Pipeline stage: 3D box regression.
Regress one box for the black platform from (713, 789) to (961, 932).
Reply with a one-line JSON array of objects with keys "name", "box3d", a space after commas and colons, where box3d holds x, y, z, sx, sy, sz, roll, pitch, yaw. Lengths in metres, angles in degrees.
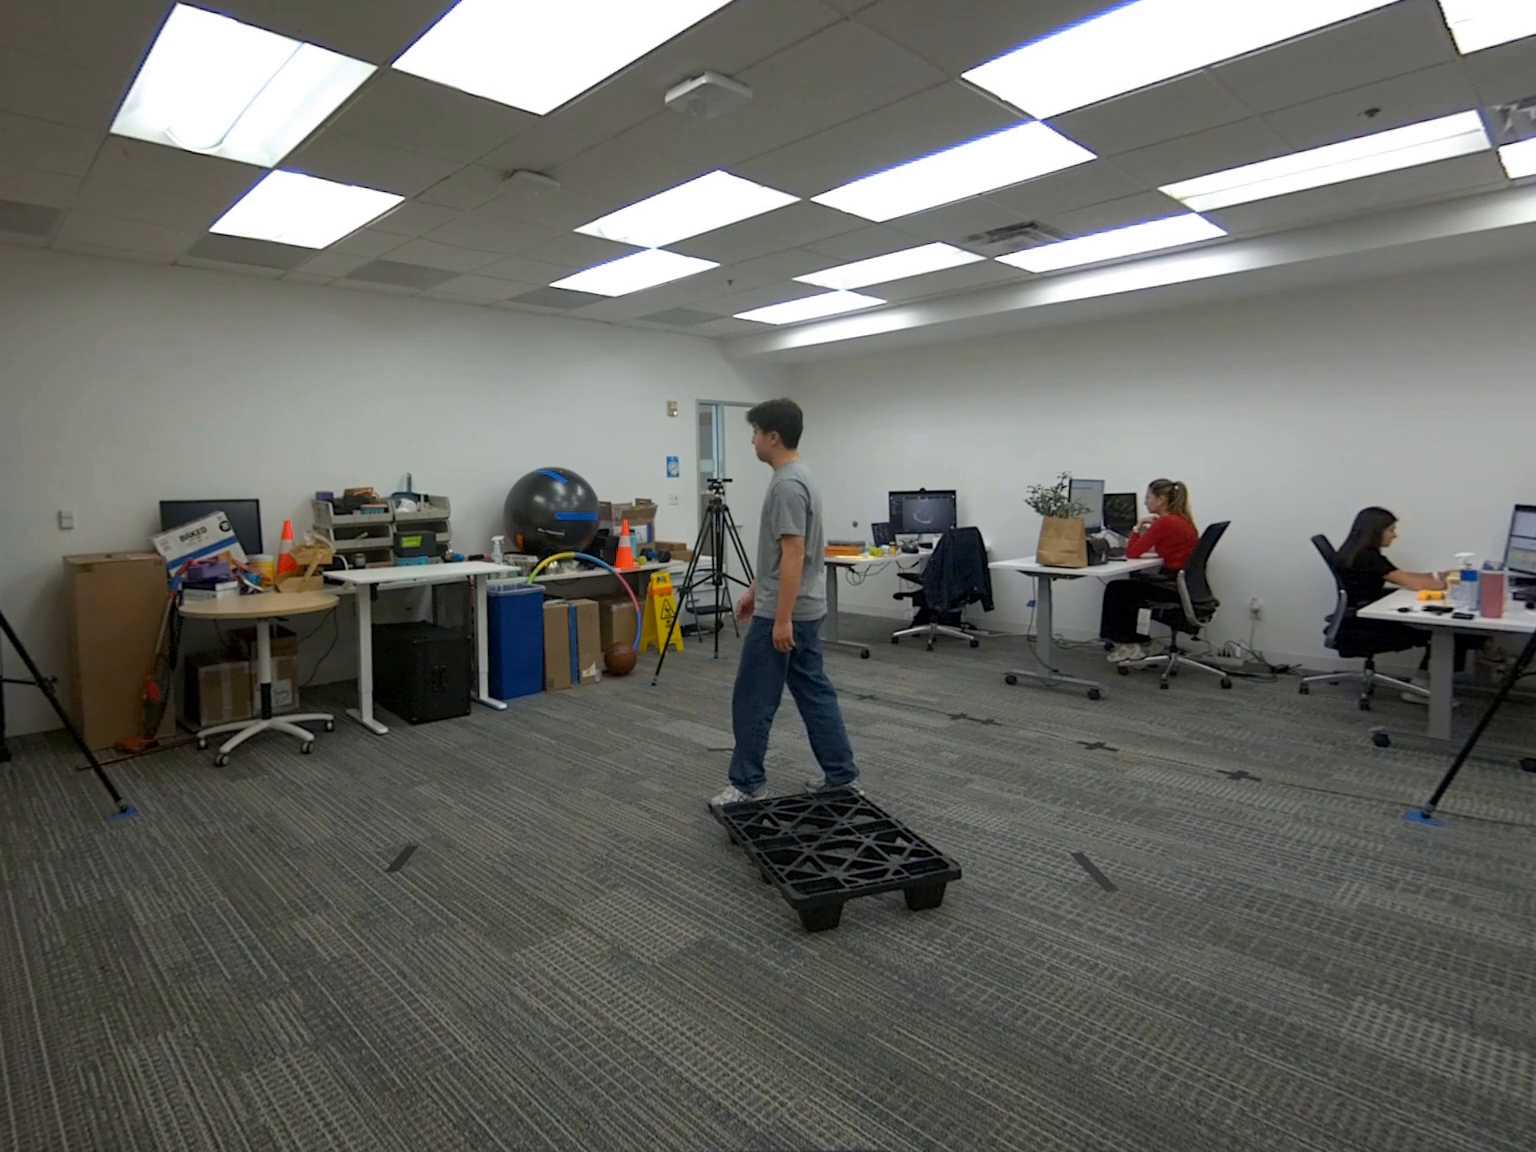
[{"name": "black platform", "box3d": [0.205, 0.983, 3.033, 0.595, 0.142, 0.823, -4, 7, -20]}]
